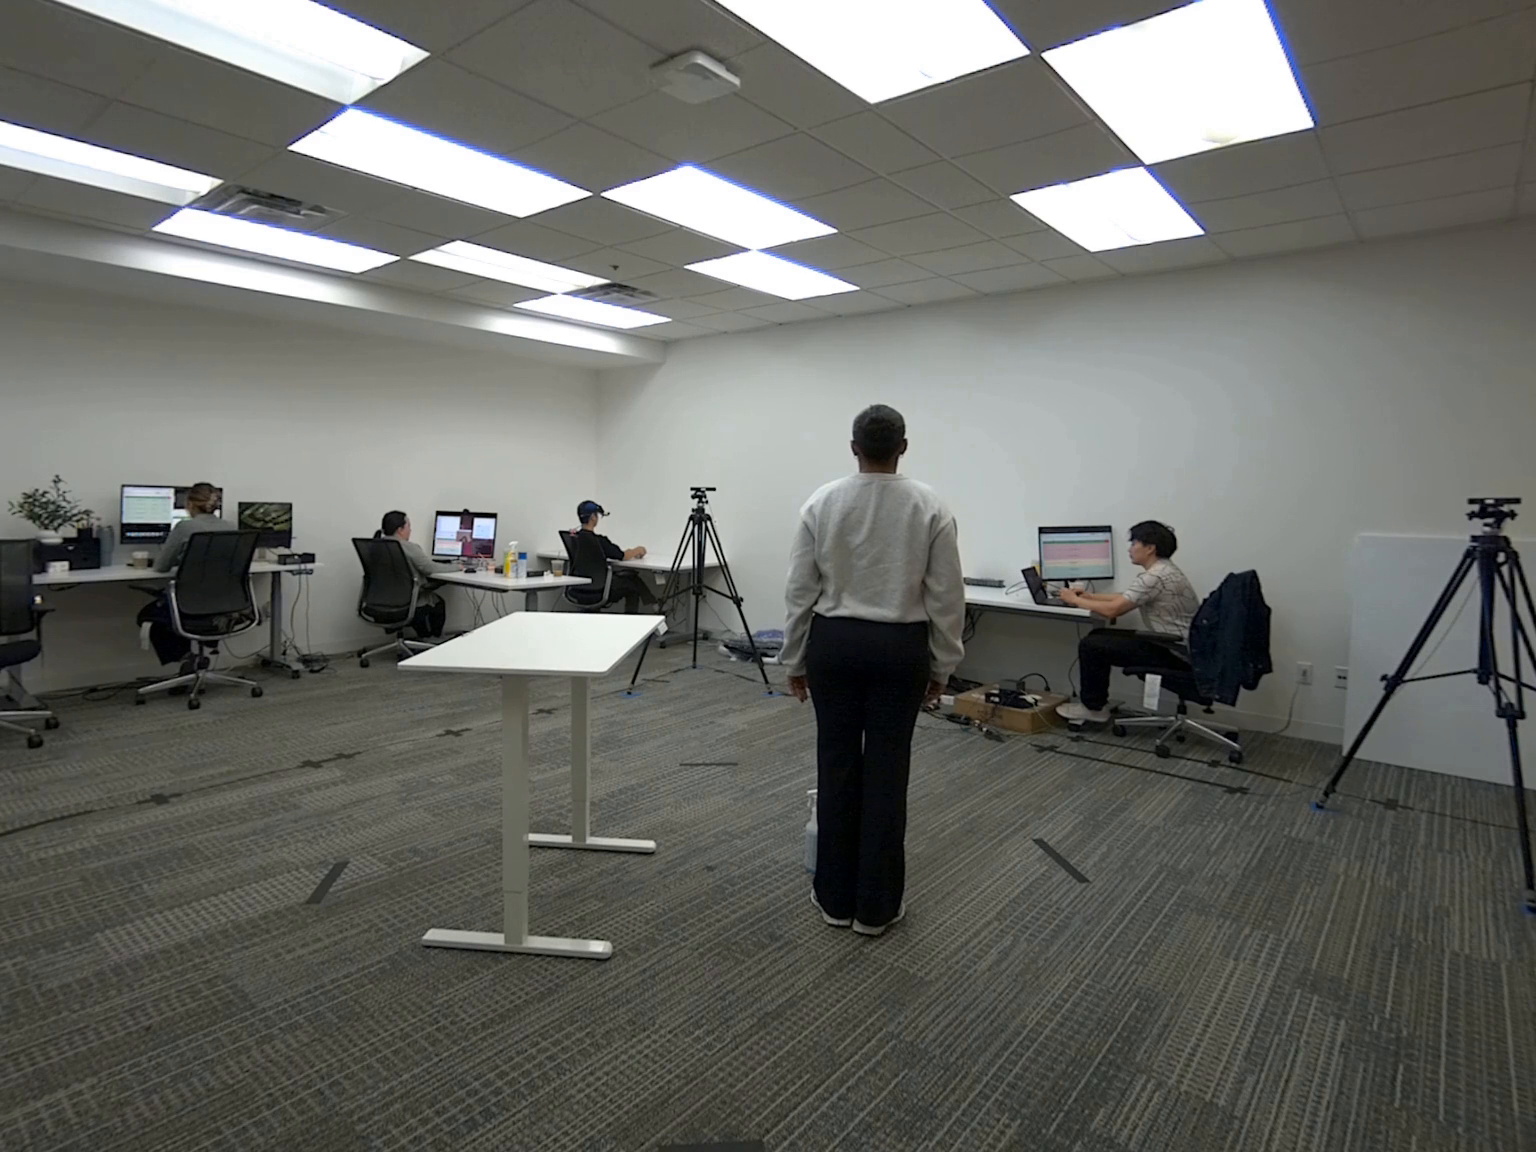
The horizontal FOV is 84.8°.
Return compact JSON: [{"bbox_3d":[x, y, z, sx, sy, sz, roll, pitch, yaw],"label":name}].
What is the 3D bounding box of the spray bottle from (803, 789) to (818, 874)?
[{"bbox_3d":[0.174,0.923,3.110,0.089,0.296,0.088,-1,4,-8],"label":"spray bottle"}]
